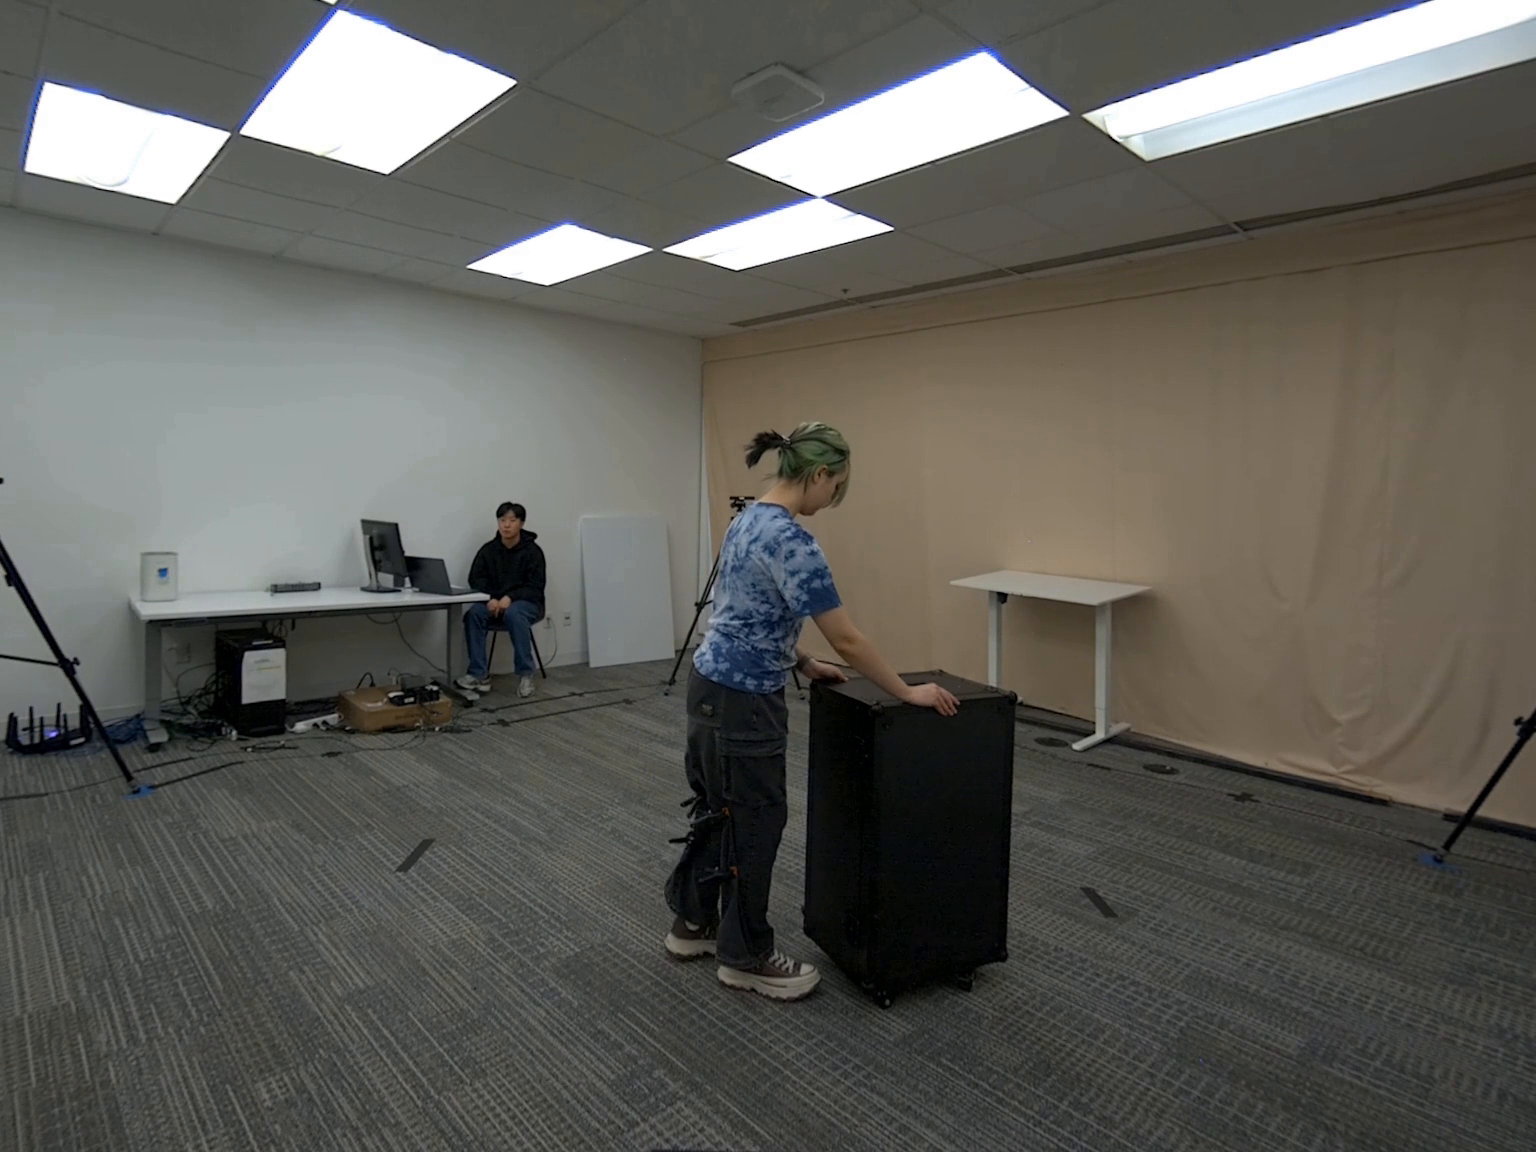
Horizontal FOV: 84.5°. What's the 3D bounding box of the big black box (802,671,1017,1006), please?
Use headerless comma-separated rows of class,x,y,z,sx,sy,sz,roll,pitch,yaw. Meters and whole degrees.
big black box,0.401,0.752,2.493,0.512,0.860,0.404,0,3,-25
